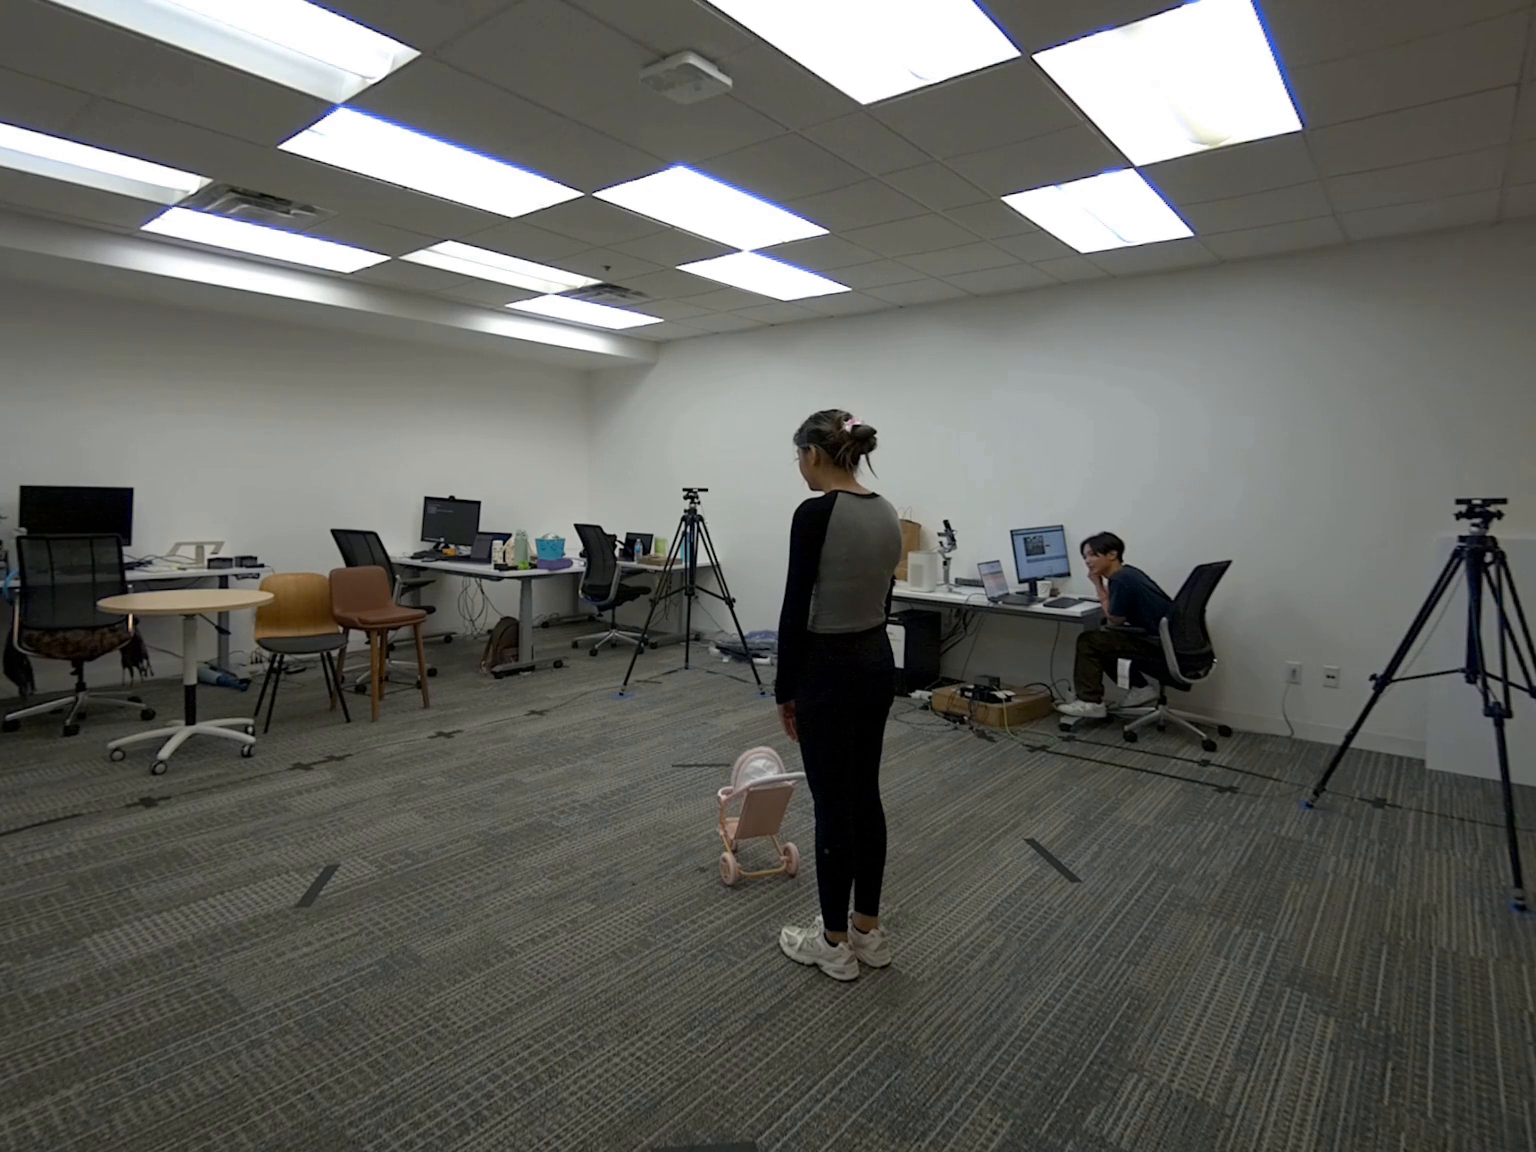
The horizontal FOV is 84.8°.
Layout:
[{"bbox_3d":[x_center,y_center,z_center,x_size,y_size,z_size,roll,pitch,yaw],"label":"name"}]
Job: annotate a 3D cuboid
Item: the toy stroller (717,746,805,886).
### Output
[{"bbox_3d":[-0.054,0.848,3.095,0.276,0.527,0.353,1,20,-21],"label":"toy stroller"}]
